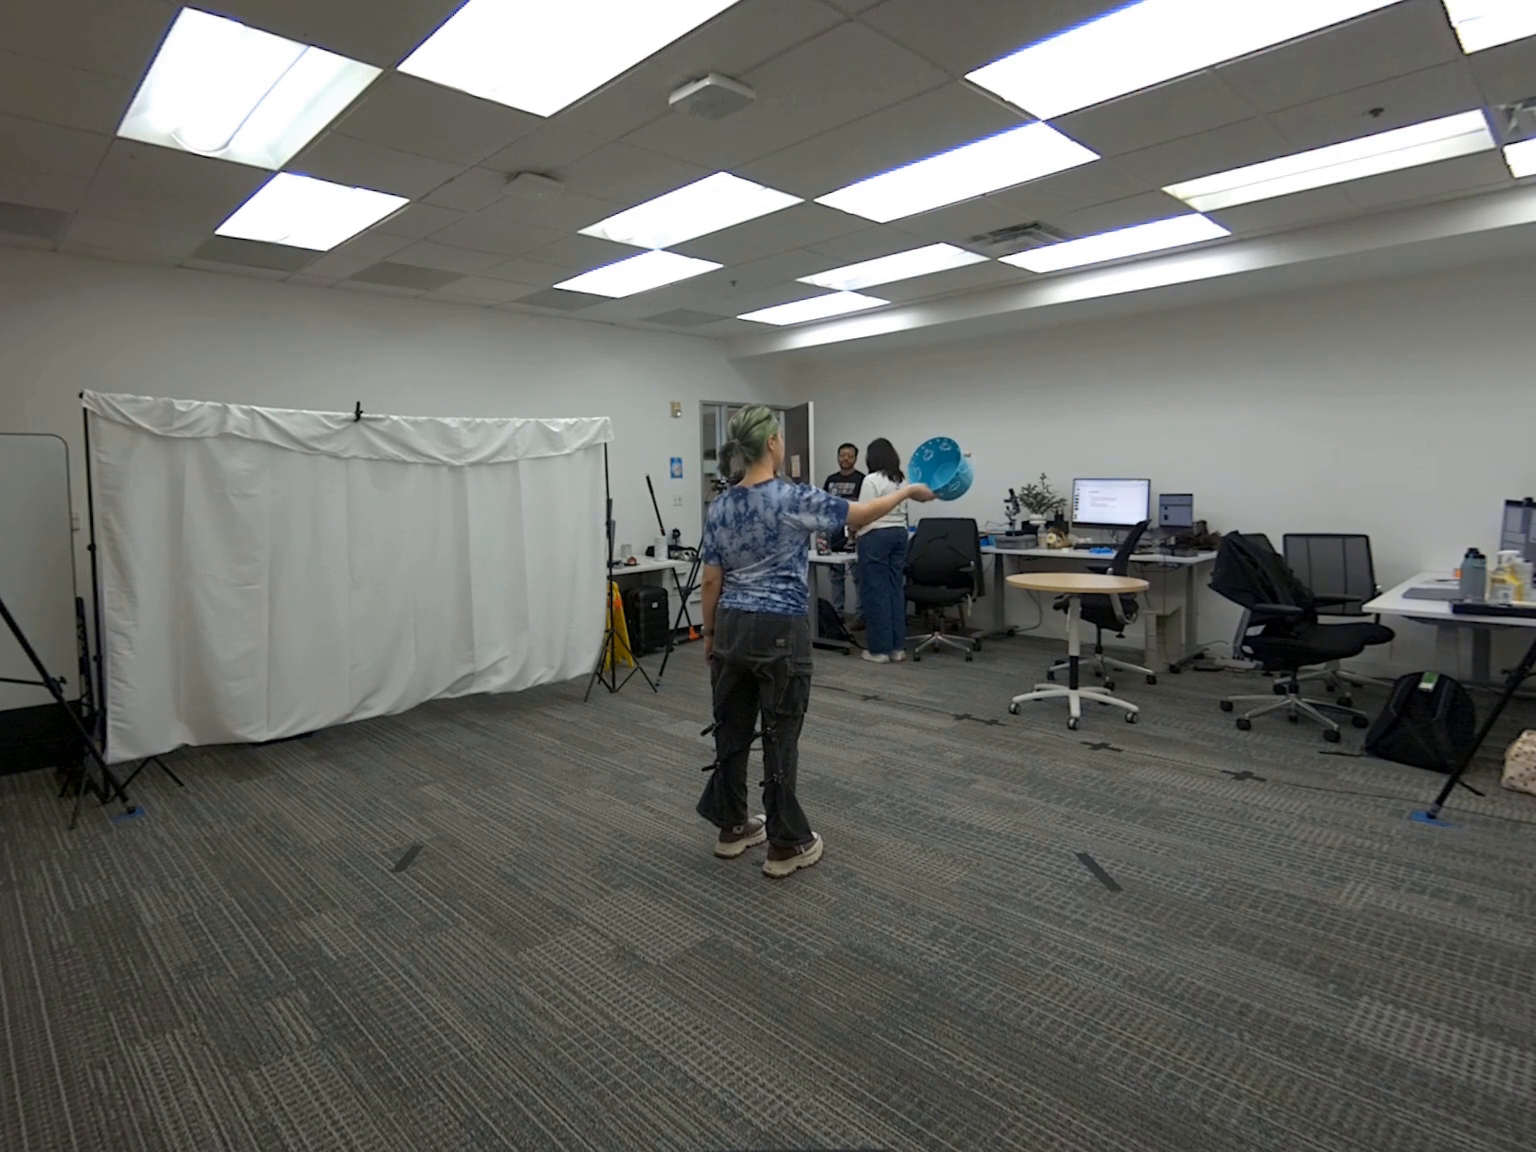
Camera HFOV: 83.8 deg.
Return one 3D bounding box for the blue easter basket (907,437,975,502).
[{"bbox_3d":[0.687,-0.399,3.320,0.251,0.245,0.150,4,-19,44],"label":"blue easter basket"}]
